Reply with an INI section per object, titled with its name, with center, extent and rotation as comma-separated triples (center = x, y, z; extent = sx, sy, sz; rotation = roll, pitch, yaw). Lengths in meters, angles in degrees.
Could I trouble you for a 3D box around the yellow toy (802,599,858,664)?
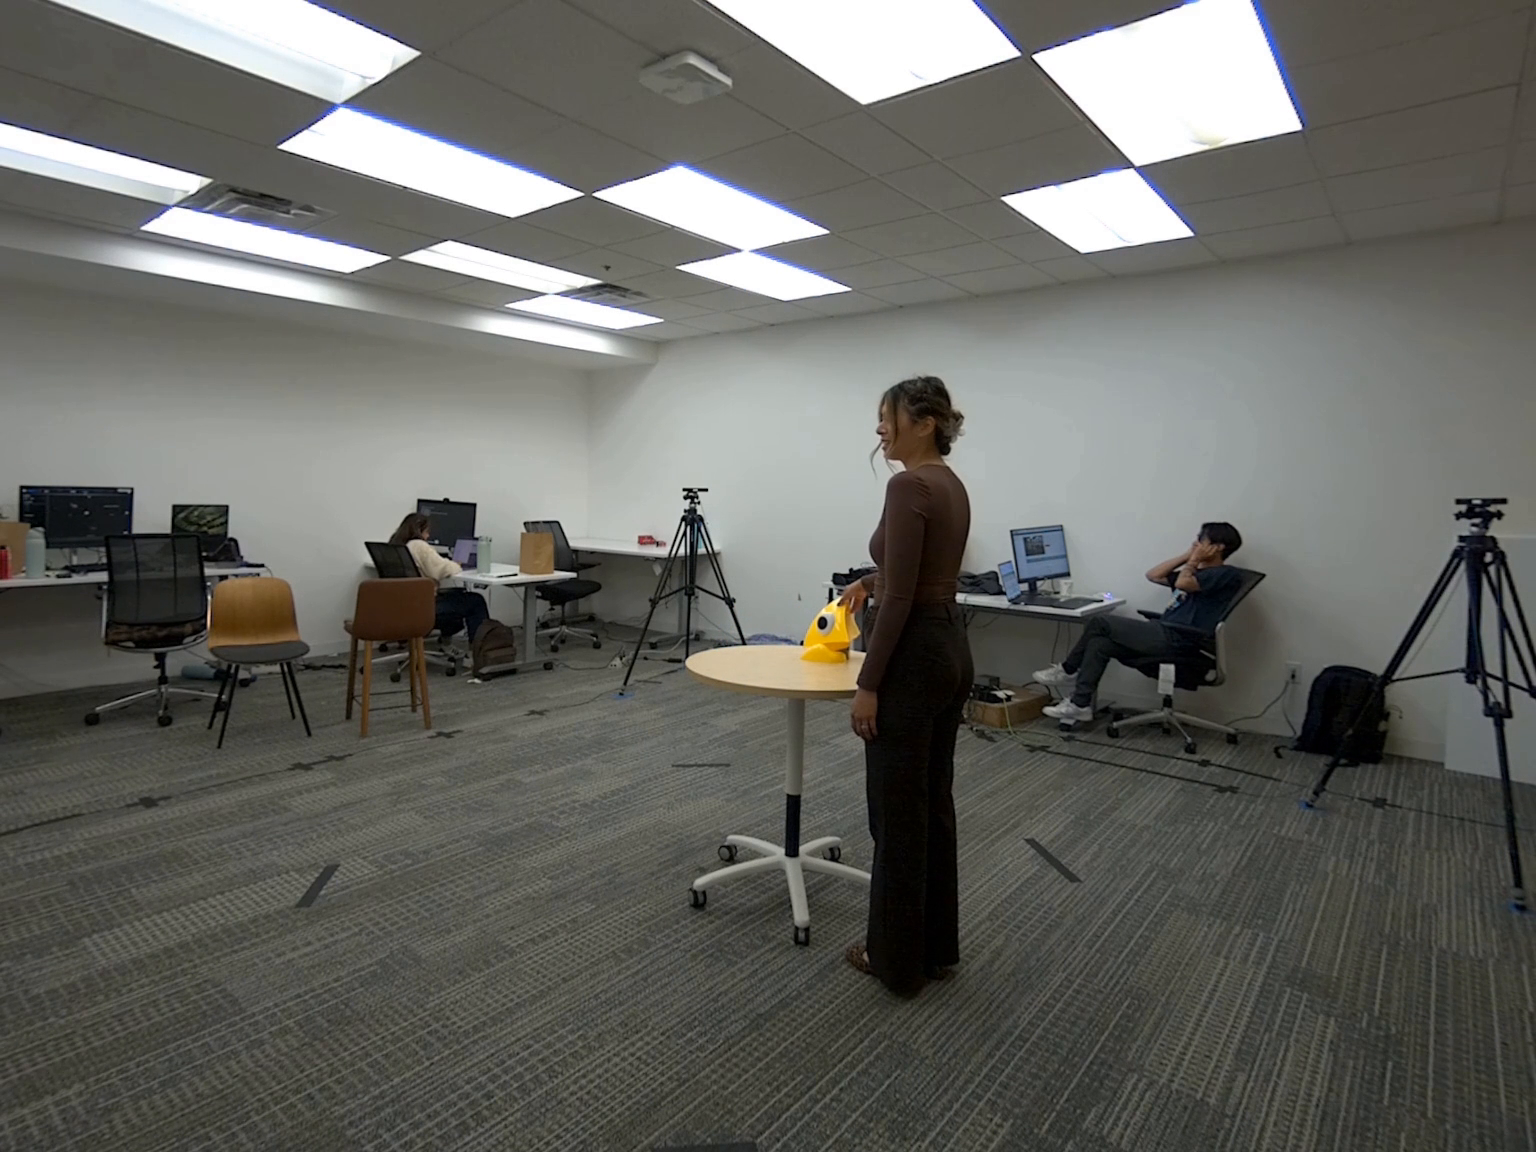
[yellow toy]
center = 0.216, 0.176, 3.043
extent = 0.197, 0.230, 0.201
rotation = 3, 3, 18
